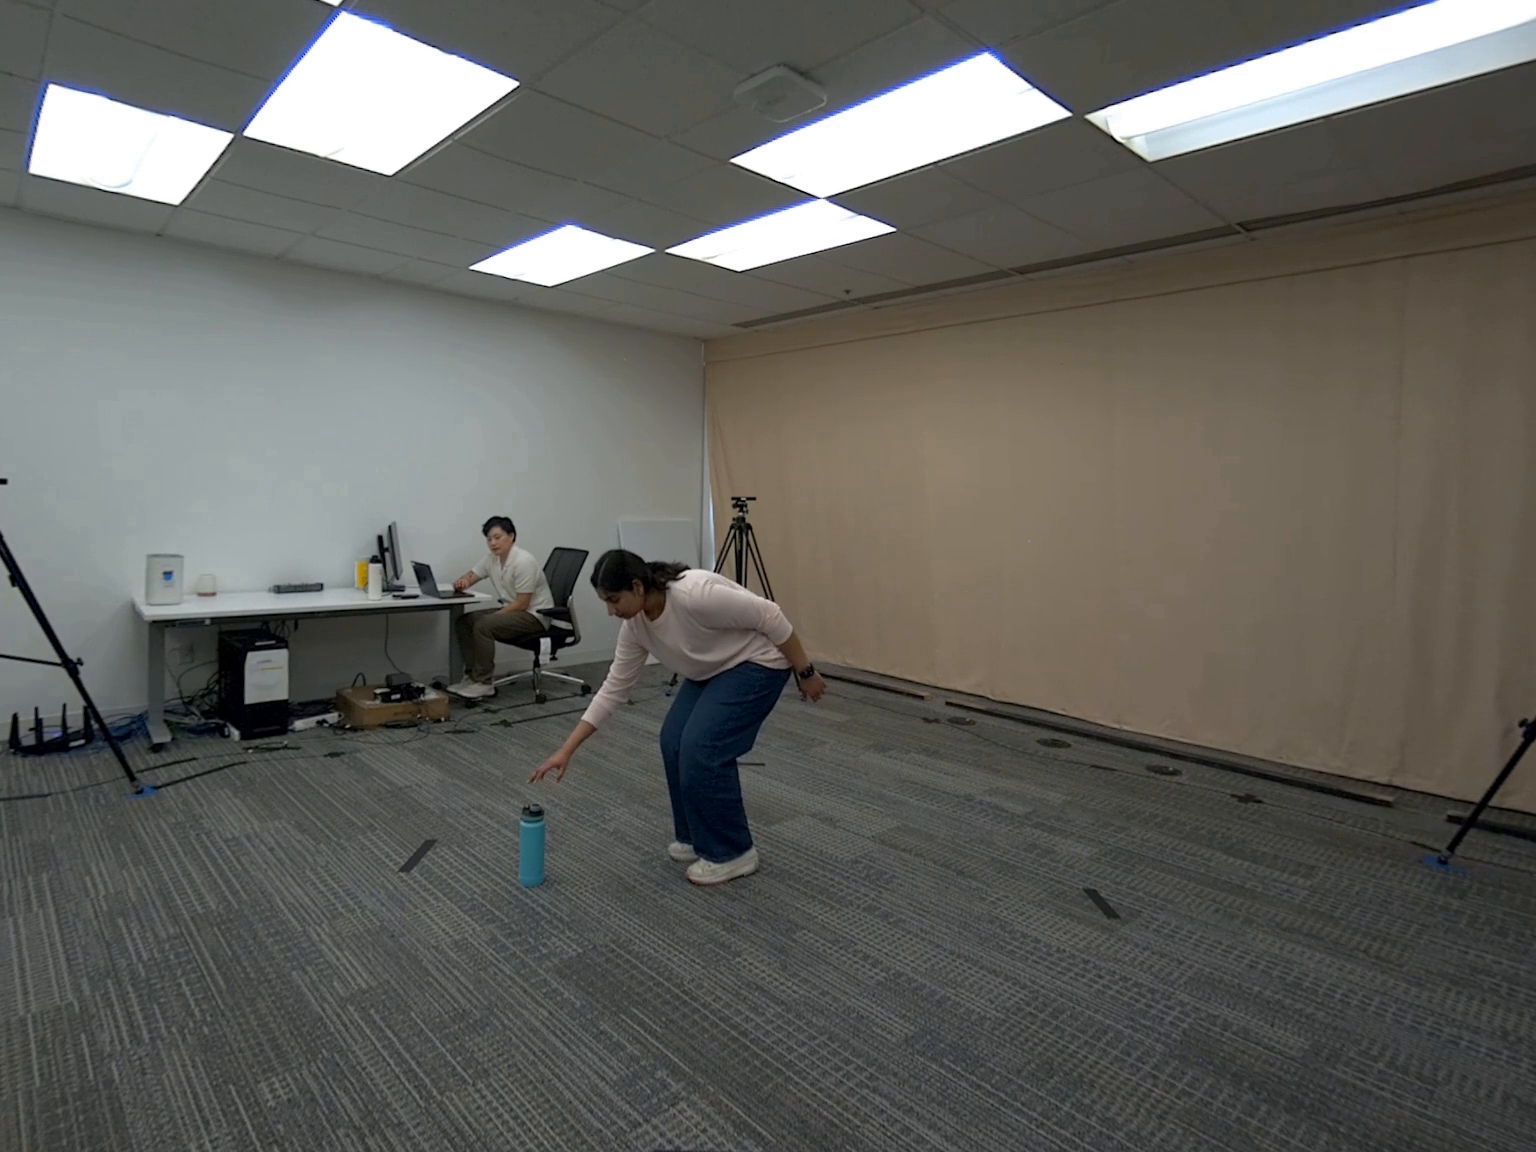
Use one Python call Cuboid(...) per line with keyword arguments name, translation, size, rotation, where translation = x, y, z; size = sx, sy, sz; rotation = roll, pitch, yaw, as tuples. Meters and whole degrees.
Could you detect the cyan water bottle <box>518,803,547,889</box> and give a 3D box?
Cuboid(name="cyan water bottle", translation=(-0.849, 0.958, 3.007), size=(0.092, 0.282, 0.093), rotation=(2, 7, -2))
